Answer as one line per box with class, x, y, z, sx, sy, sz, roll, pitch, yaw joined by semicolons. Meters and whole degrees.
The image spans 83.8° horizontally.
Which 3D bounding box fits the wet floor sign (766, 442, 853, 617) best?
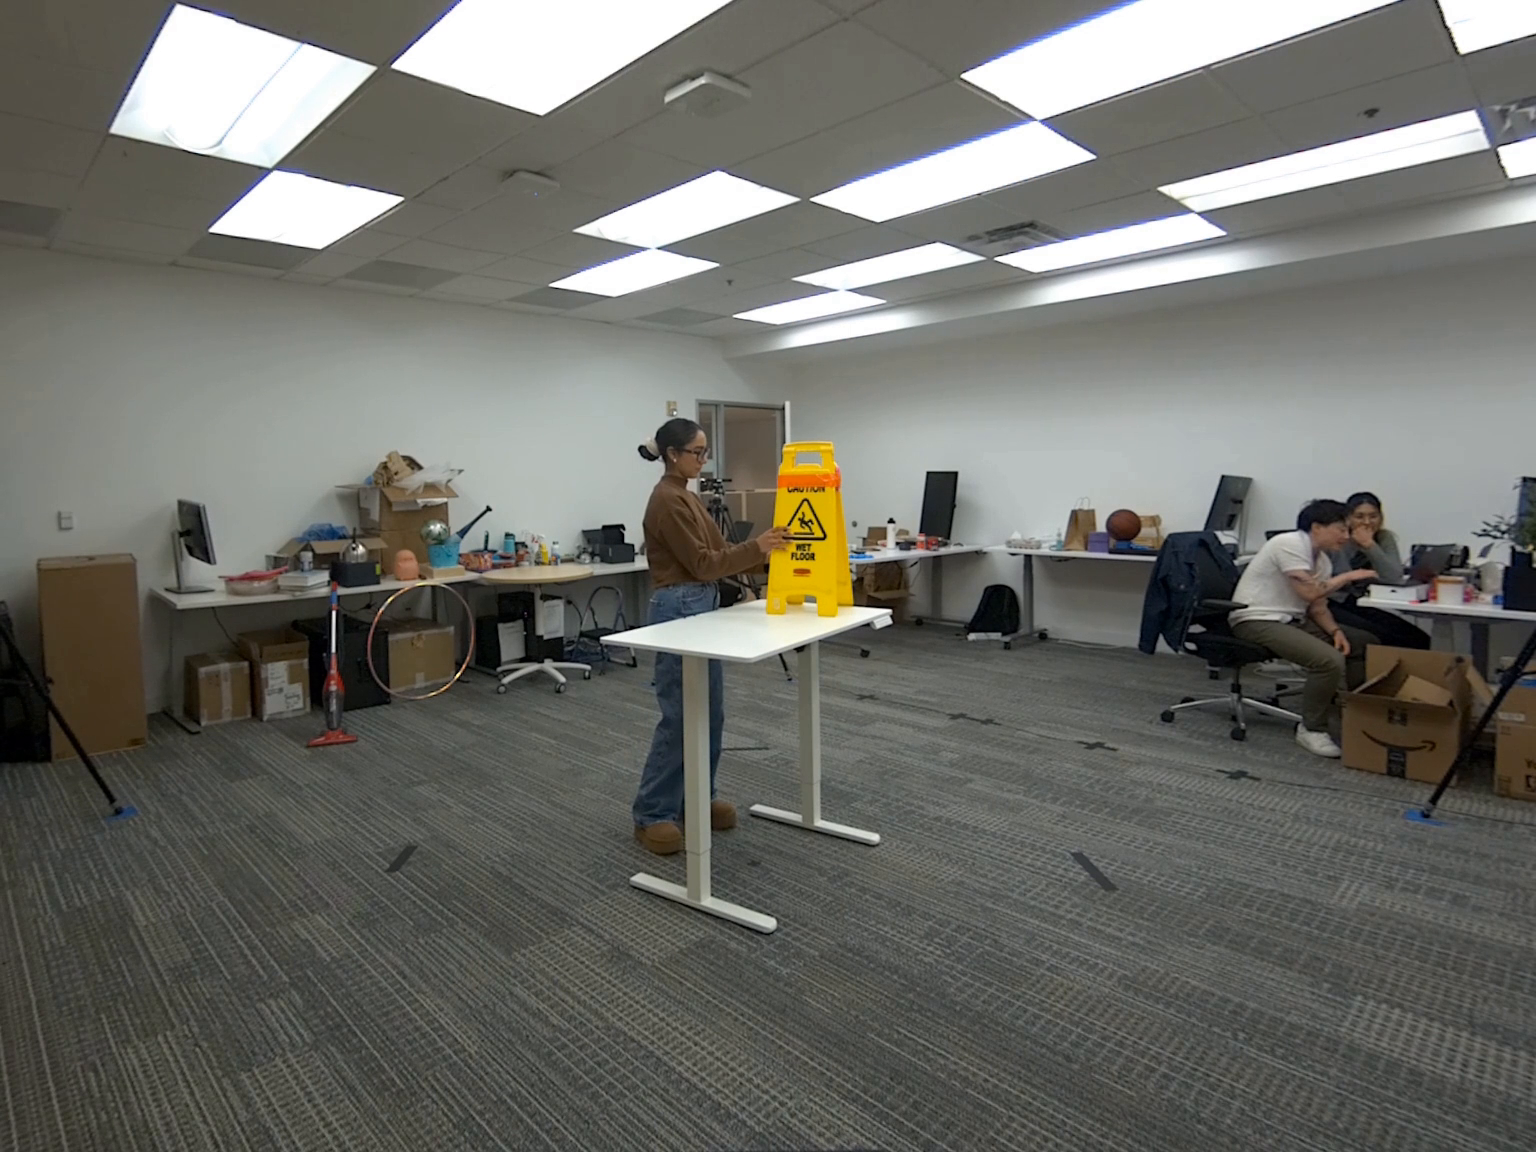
wet floor sign;0.163;-0.189;3.308;0.288;0.643;0.285;2;5;21
